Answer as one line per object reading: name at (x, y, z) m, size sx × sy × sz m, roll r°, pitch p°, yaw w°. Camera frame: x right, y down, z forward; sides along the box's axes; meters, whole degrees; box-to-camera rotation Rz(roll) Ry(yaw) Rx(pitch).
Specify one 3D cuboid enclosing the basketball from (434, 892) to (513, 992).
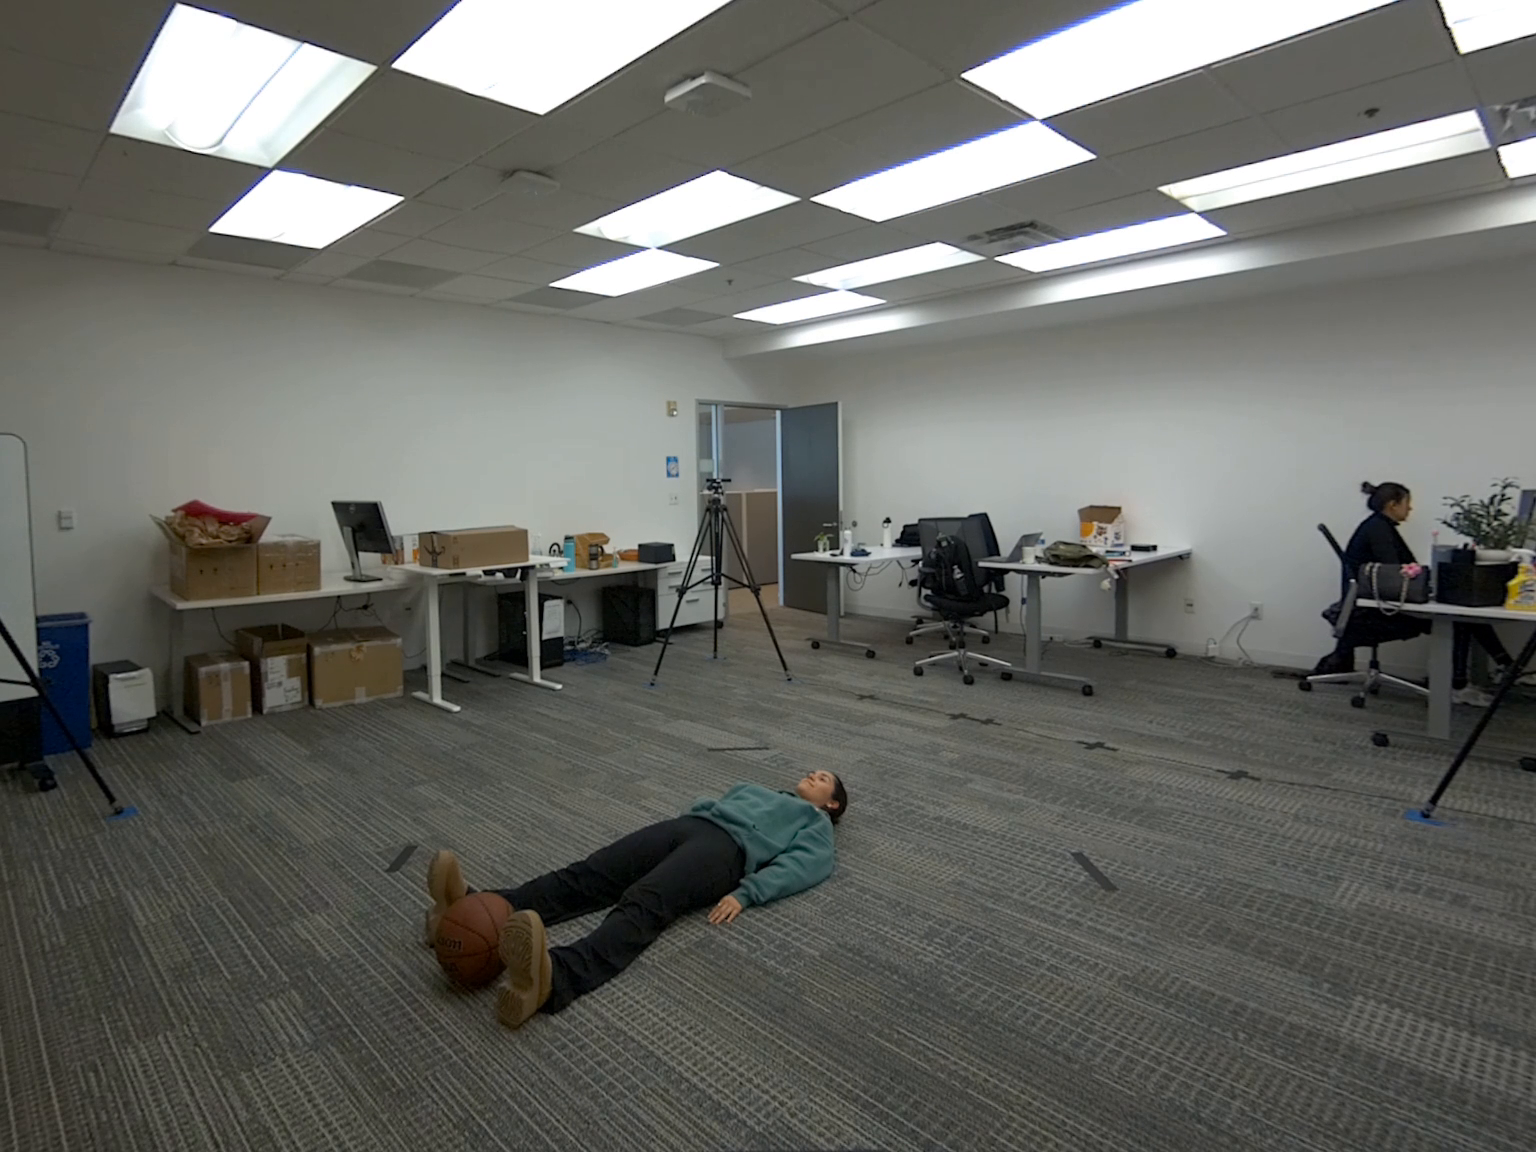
basketball at (-0.809, 1.023, 2.418) m, size 0.236 × 0.235 × 0.237 m, roll -1°, pitch 4°, yaw -2°
